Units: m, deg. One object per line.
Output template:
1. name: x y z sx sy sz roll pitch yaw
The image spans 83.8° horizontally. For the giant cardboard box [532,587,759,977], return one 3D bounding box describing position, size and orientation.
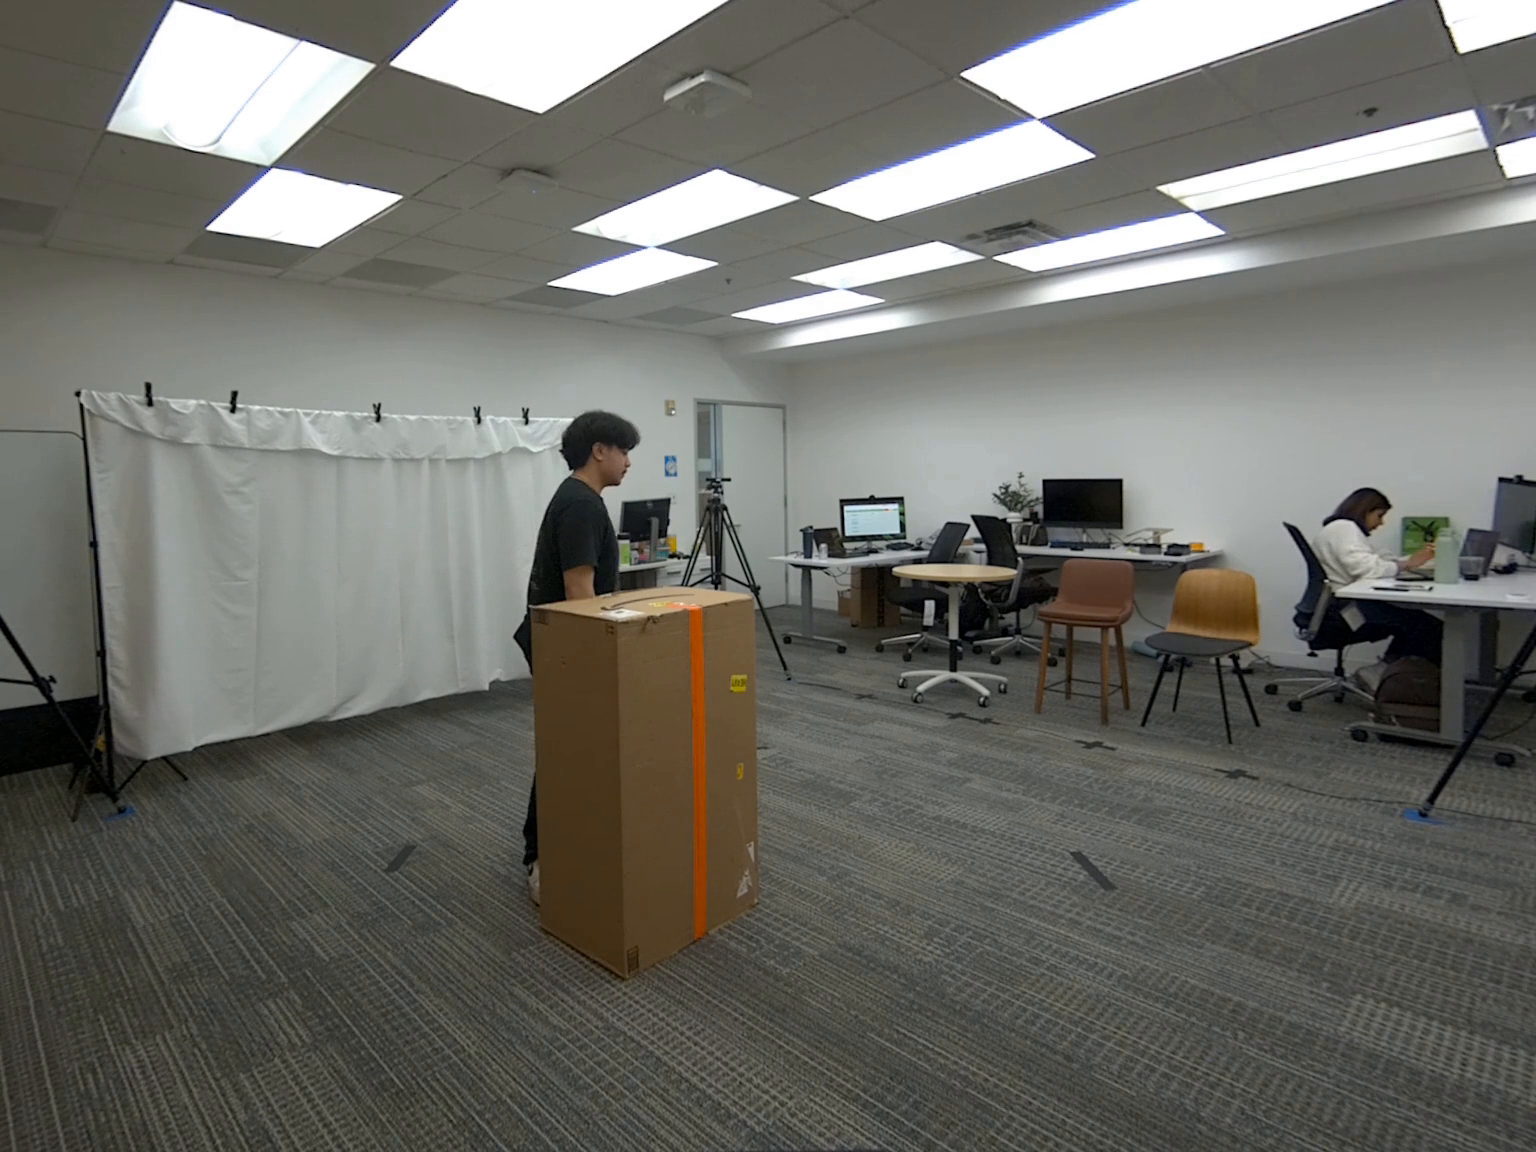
1. giant cardboard box: -0.376 0.584 2.706 0.460 1.023 0.568 4 6 43
